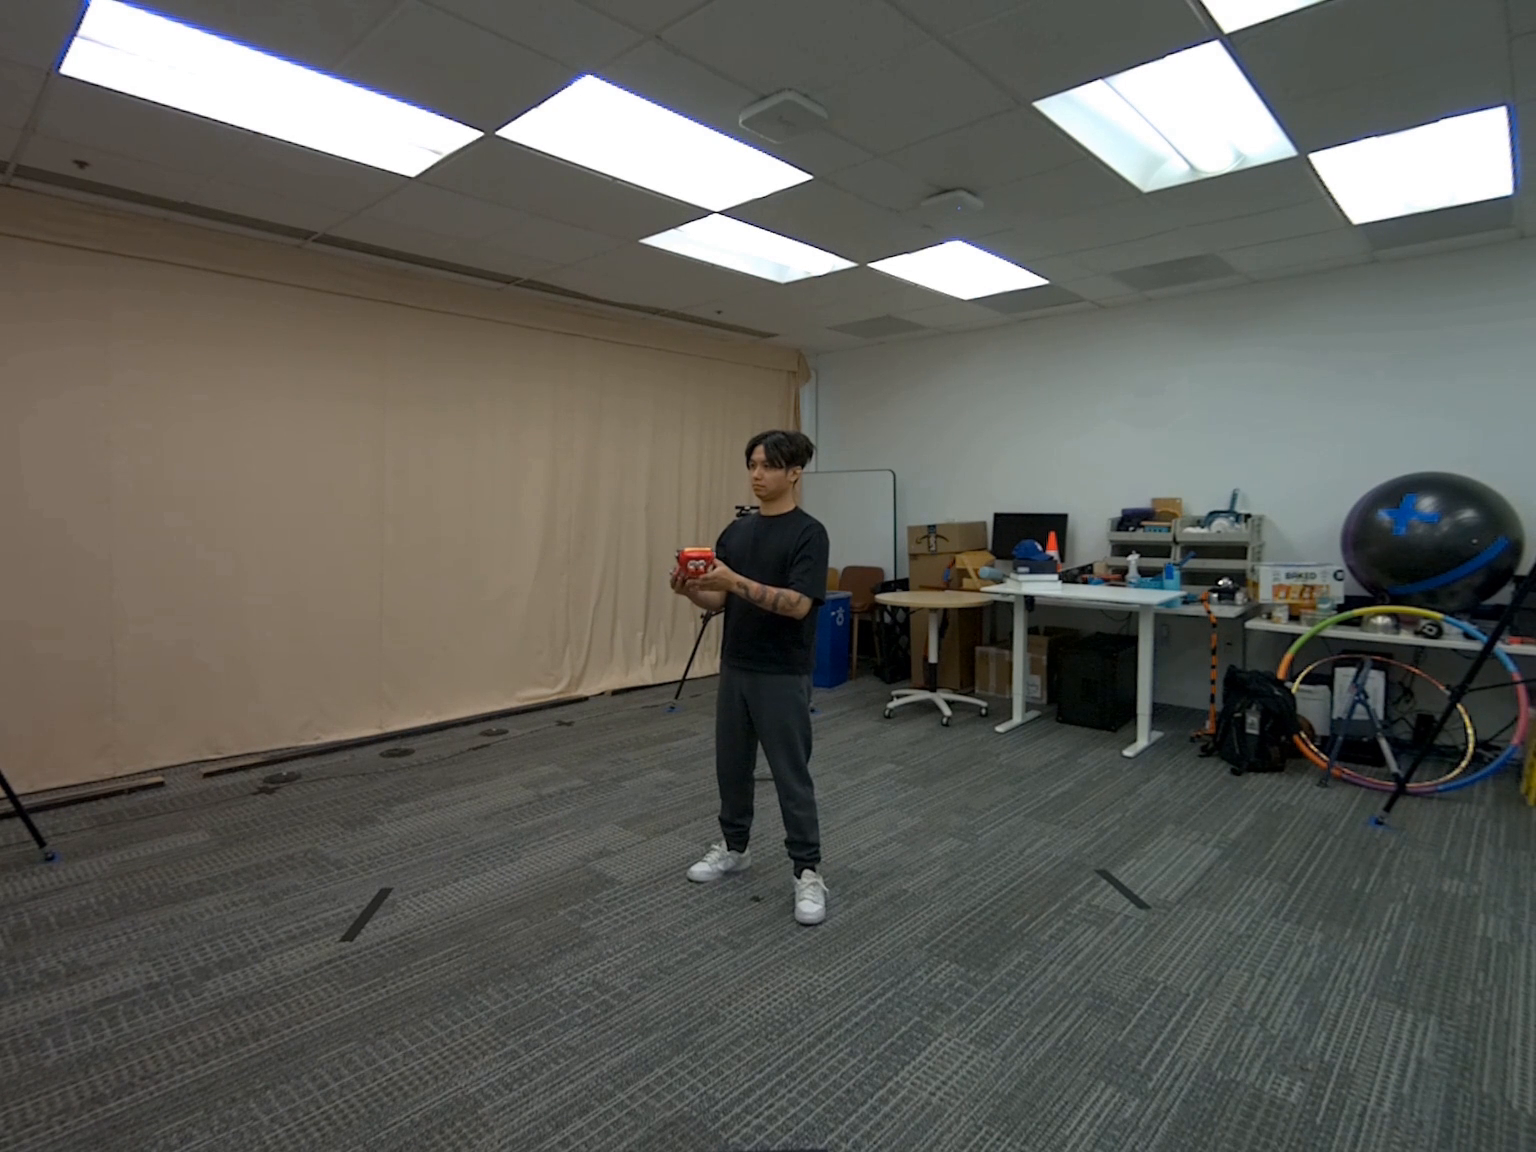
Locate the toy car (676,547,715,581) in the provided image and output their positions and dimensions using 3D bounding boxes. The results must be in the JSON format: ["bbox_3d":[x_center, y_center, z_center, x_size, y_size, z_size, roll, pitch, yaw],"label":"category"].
[{"bbox_3d":[-0.239,-0.033,2.699,0.128,0.084,0.256,2,-14,-14],"label":"toy car"}]
